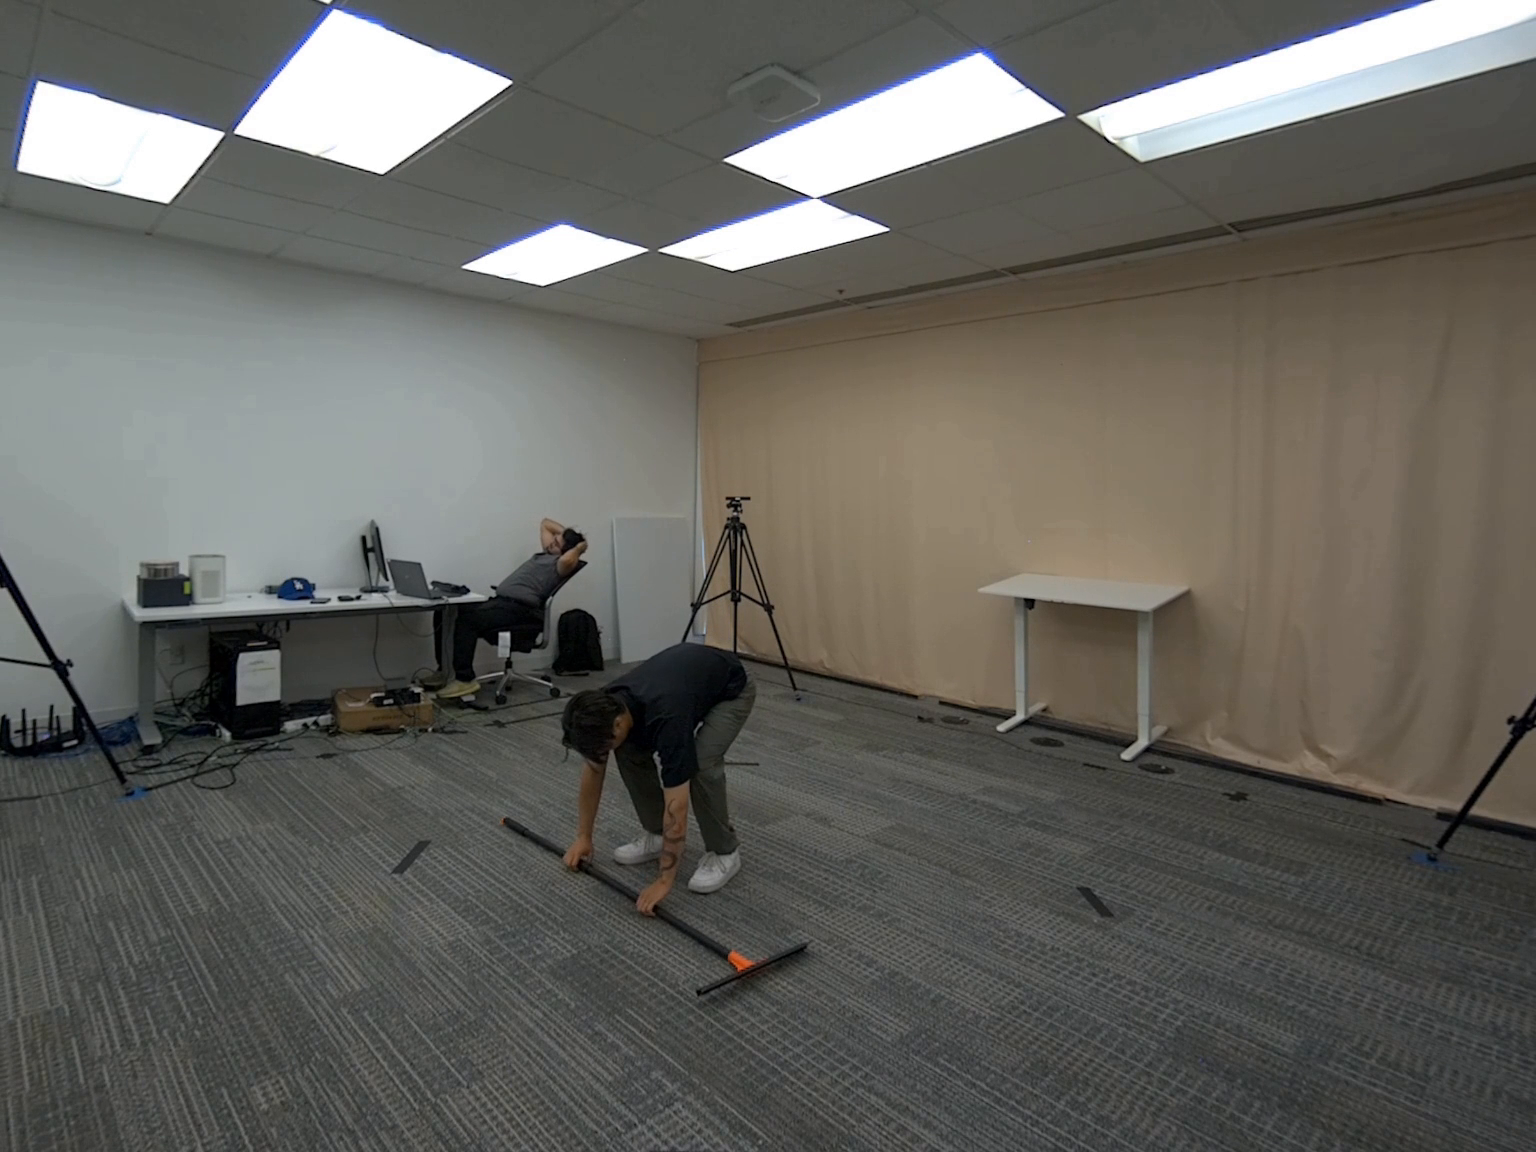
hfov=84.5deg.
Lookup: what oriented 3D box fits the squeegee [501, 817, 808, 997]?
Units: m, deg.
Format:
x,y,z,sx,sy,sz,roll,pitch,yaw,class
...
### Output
x,y,z,sx,sy,sz,roll,pitch,yaw,class
-0.567,1.067,2.987,0.427,0.053,1.577,-2,5,-44,squeegee
